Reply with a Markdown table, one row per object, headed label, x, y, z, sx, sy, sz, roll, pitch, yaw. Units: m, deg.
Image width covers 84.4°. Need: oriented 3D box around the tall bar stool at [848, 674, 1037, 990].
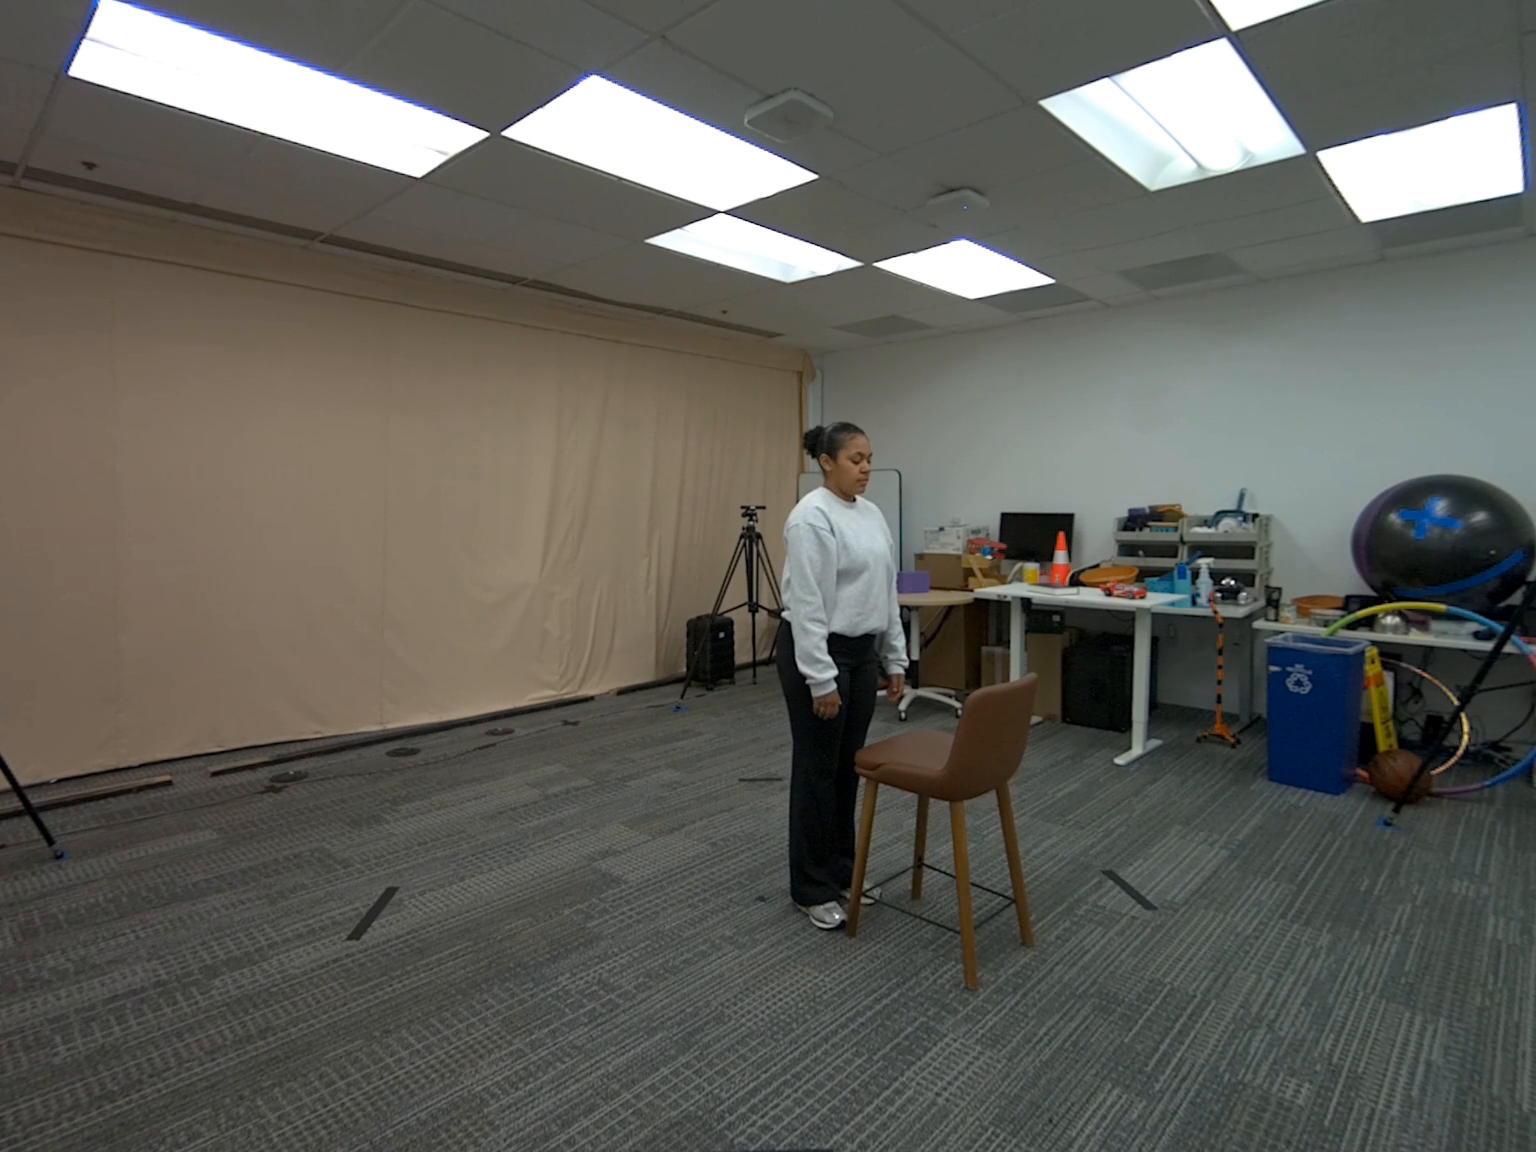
| label | x | y | z | sx | sy | sz | roll | pitch | yaw |
| --- | --- | --- | --- | --- | --- | --- | --- | --- | --- |
| tall bar stool | 0.561 | 0.729 | 2.673 | 0.442 | 0.887 | 0.484 | -3 | 7 | -44 |
